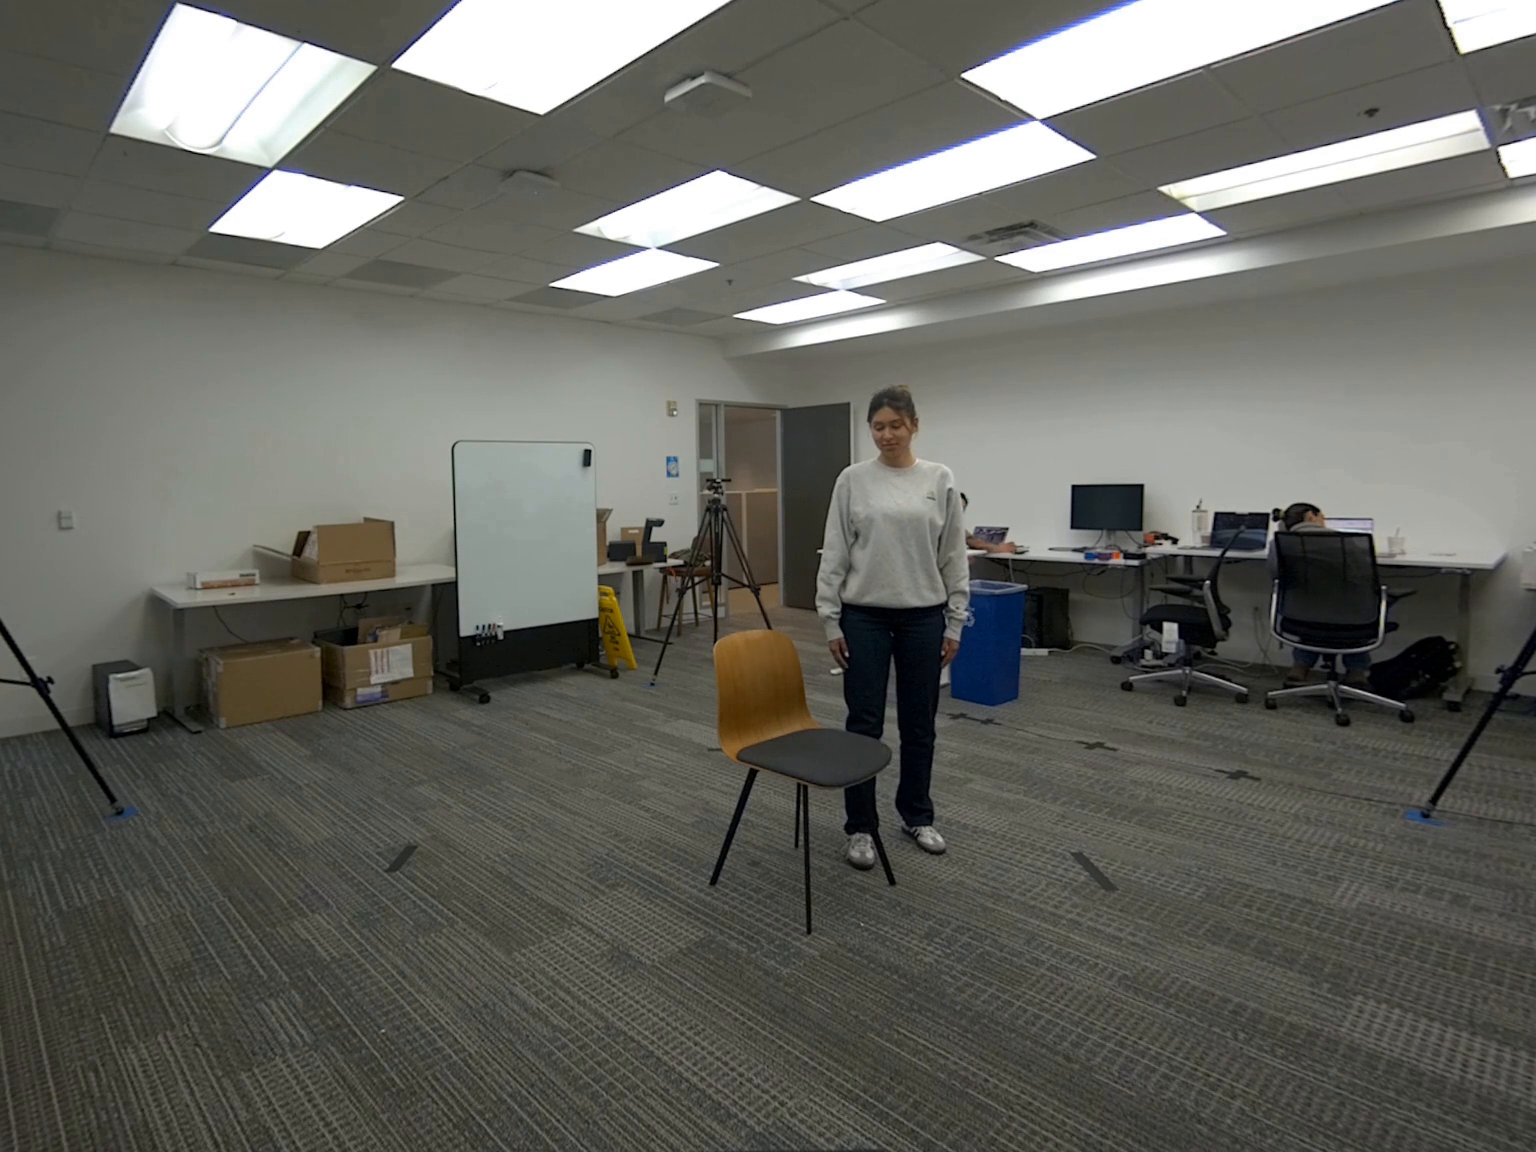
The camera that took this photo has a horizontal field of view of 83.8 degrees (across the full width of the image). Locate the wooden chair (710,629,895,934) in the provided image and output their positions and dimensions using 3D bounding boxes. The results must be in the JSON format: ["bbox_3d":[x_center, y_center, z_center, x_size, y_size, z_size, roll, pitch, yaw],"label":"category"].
[{"bbox_3d":[0.115,0.640,2.891,0.465,0.877,0.538,-4,1,-45],"label":"wooden chair"}]
